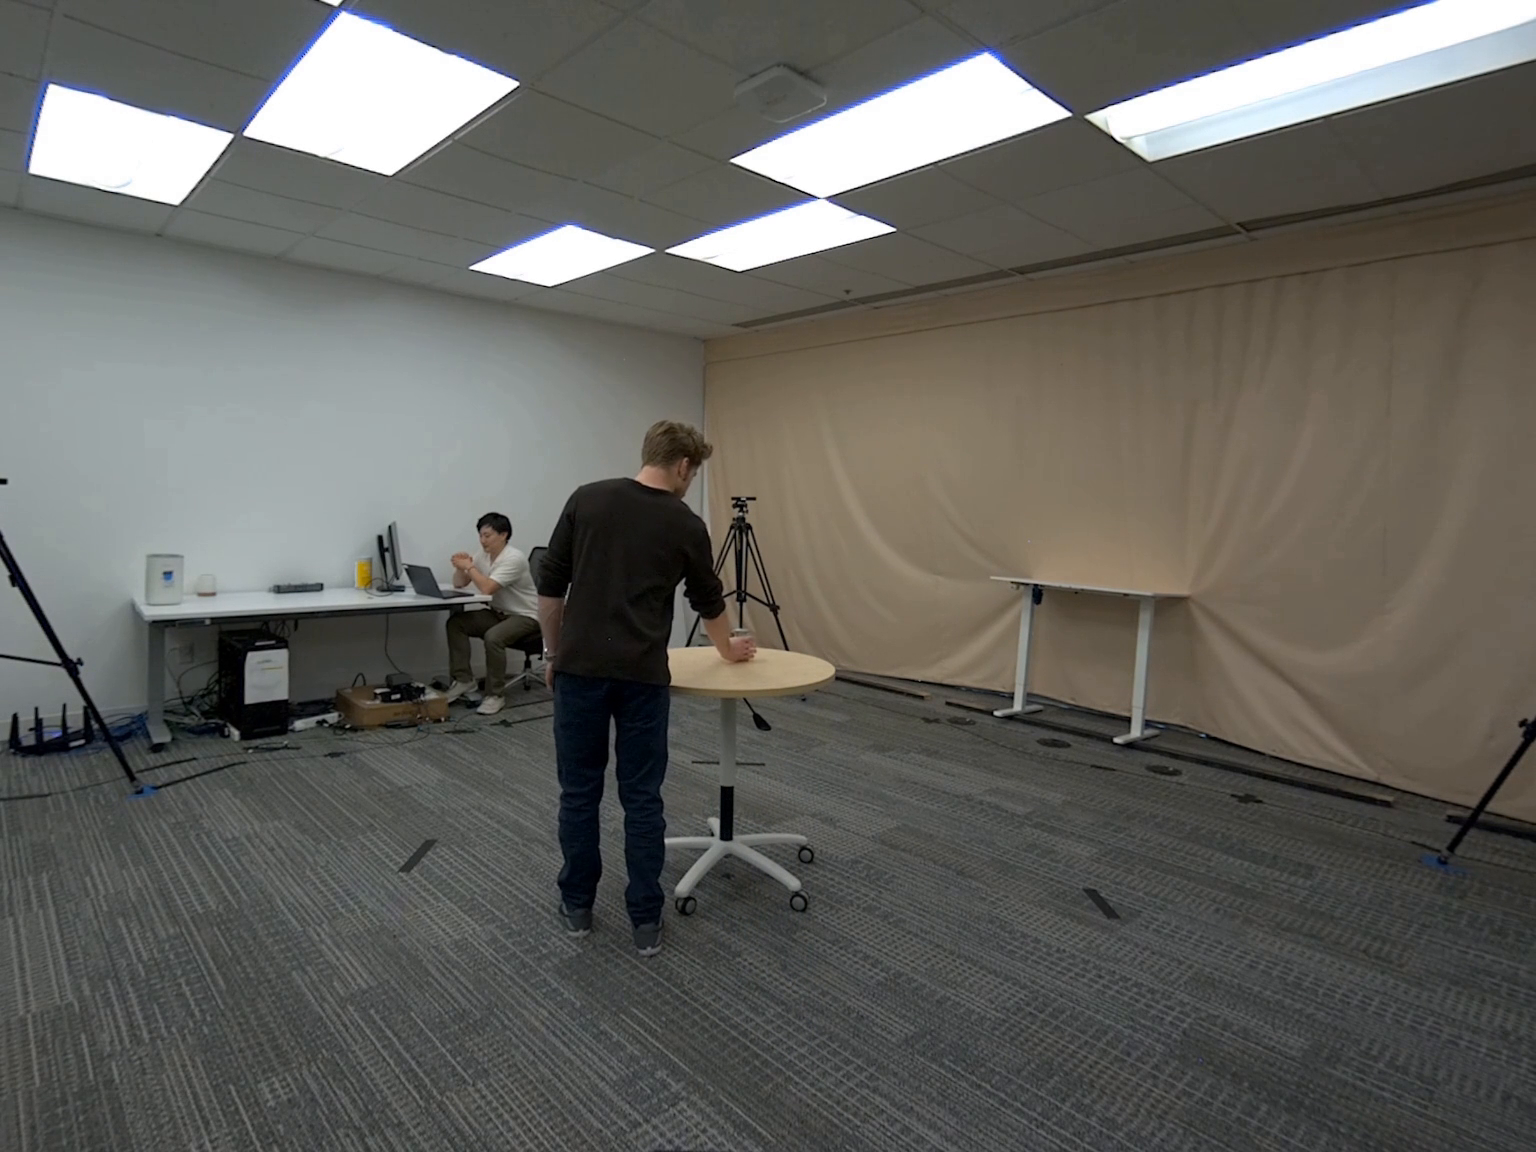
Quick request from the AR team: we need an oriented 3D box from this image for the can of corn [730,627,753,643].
[{"bbox_3d":[-0.111,0.261,3.166,0.074,0.111,0.074,3,4,-2],"label":"can of corn"}]
